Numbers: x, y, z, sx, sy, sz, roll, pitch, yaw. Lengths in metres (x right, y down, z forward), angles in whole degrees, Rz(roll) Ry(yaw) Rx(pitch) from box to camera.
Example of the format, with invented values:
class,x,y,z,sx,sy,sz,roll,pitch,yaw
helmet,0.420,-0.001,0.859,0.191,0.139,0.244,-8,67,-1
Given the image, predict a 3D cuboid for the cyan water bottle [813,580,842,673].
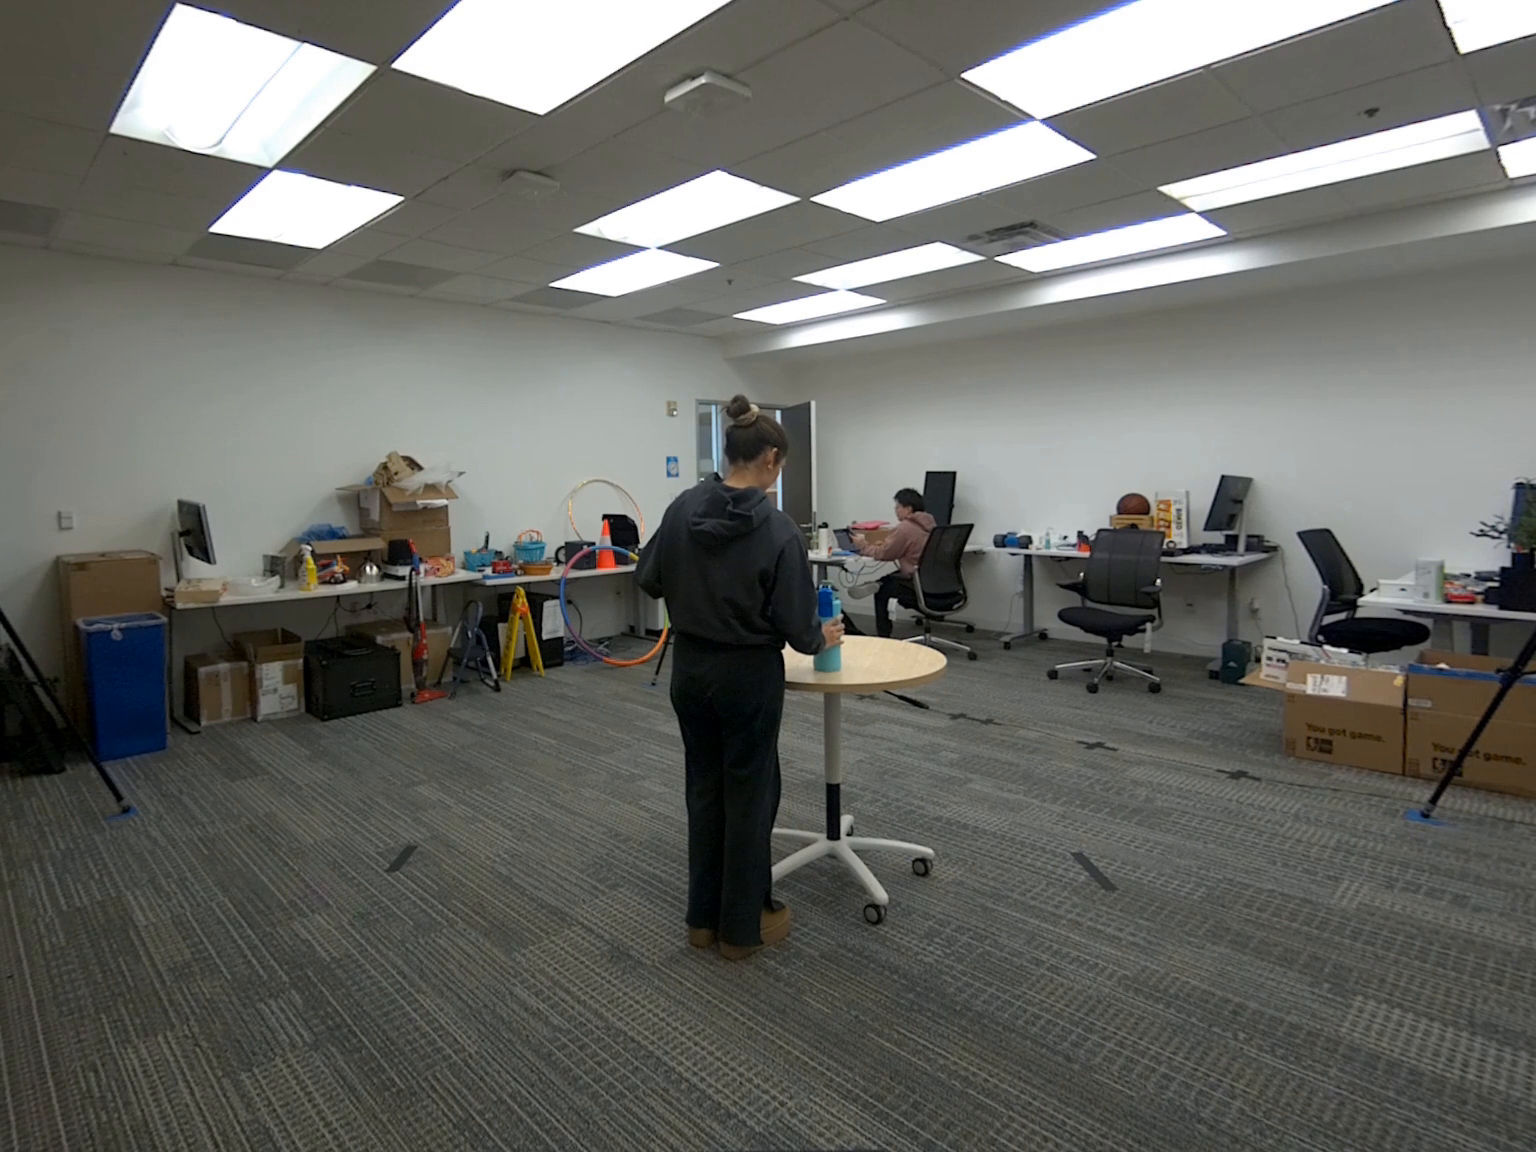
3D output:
class,x,y,z,sx,sy,sz,roll,pitch,yaw
cyan water bottle,0.198,0.160,2.731,0.092,0.282,0.093,-1,4,-2
